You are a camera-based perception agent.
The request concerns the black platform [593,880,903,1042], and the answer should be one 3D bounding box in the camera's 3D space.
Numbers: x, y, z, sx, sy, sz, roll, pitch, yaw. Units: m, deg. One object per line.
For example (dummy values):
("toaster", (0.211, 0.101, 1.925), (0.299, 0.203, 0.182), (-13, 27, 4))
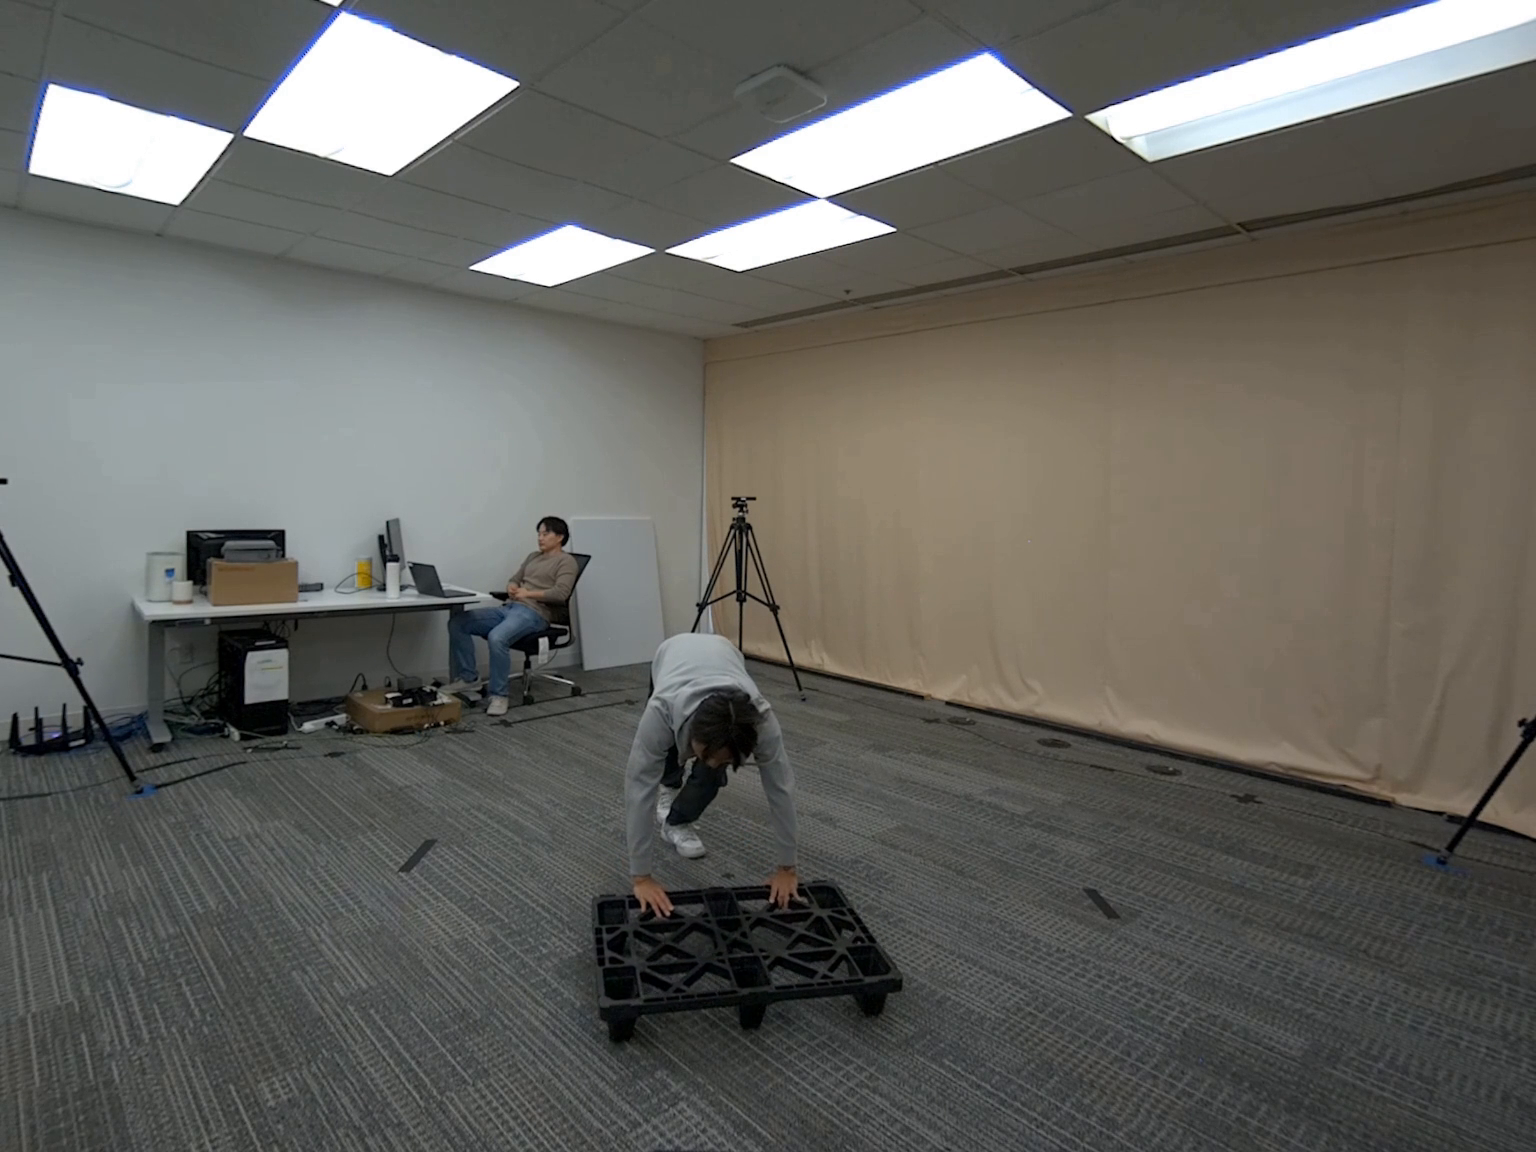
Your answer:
("black platform", (-0.103, 1.100, 2.430), (0.798, 0.143, 0.613), (0, 6, -12))
